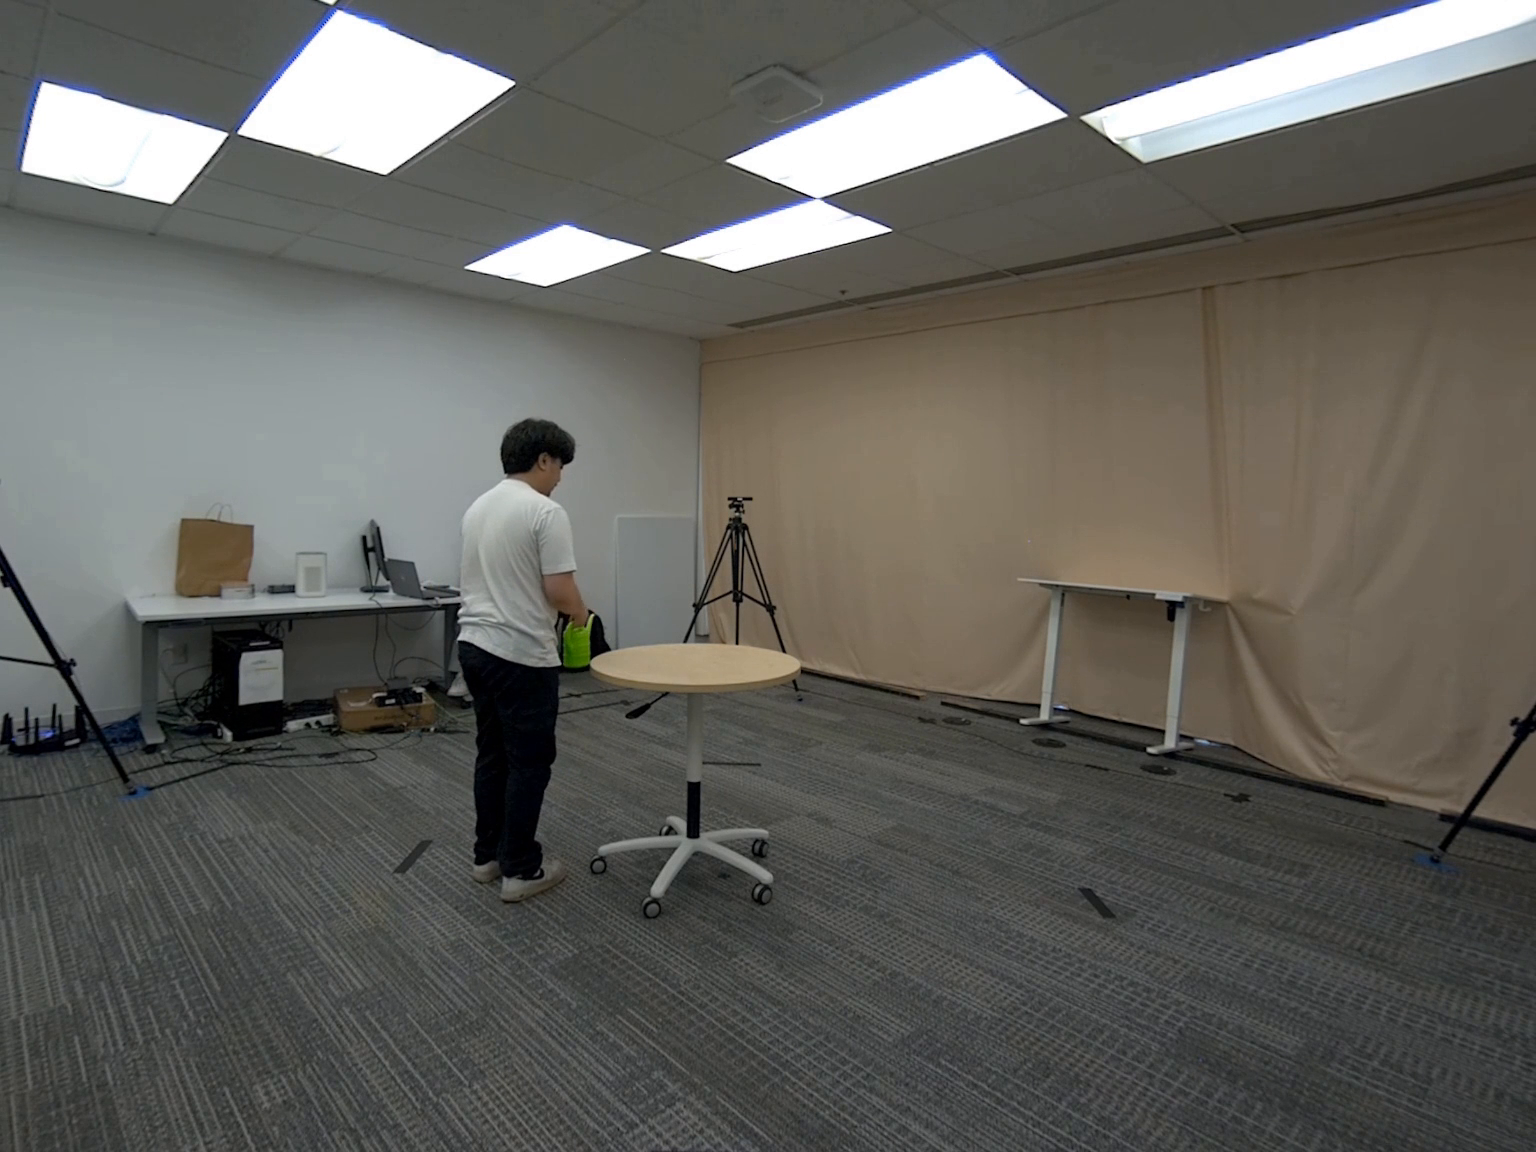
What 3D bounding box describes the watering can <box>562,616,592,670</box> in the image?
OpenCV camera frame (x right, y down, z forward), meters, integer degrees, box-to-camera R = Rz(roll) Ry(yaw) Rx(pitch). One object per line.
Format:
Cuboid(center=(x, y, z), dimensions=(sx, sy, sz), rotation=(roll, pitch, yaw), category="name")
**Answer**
Cuboid(center=(-0.741, 0.249, 3.279), dimensions=(0.099, 0.176, 0.275), rotation=(-2, 4, 17), category="watering can")
